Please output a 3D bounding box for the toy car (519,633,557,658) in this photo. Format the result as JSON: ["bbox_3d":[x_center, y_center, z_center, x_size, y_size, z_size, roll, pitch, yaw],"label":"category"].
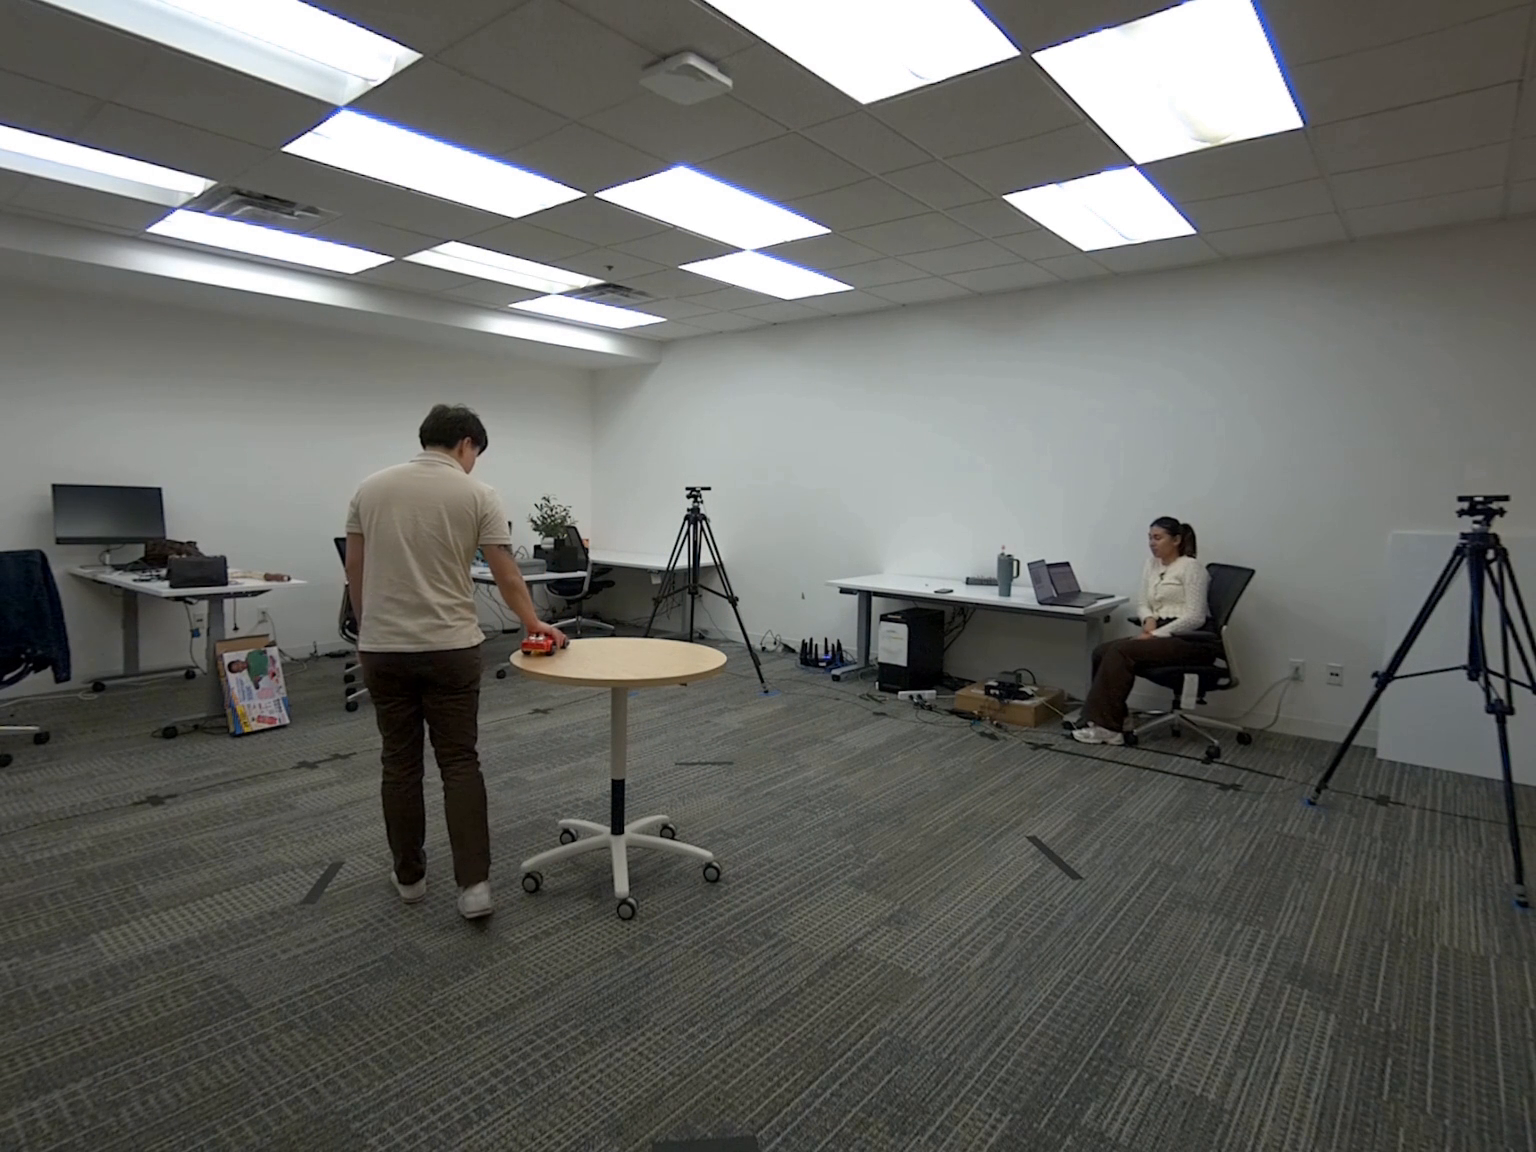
[{"bbox_3d":[-0.823,0.243,3.064,0.131,0.084,0.251,4,-7,4],"label":"toy car"}]
